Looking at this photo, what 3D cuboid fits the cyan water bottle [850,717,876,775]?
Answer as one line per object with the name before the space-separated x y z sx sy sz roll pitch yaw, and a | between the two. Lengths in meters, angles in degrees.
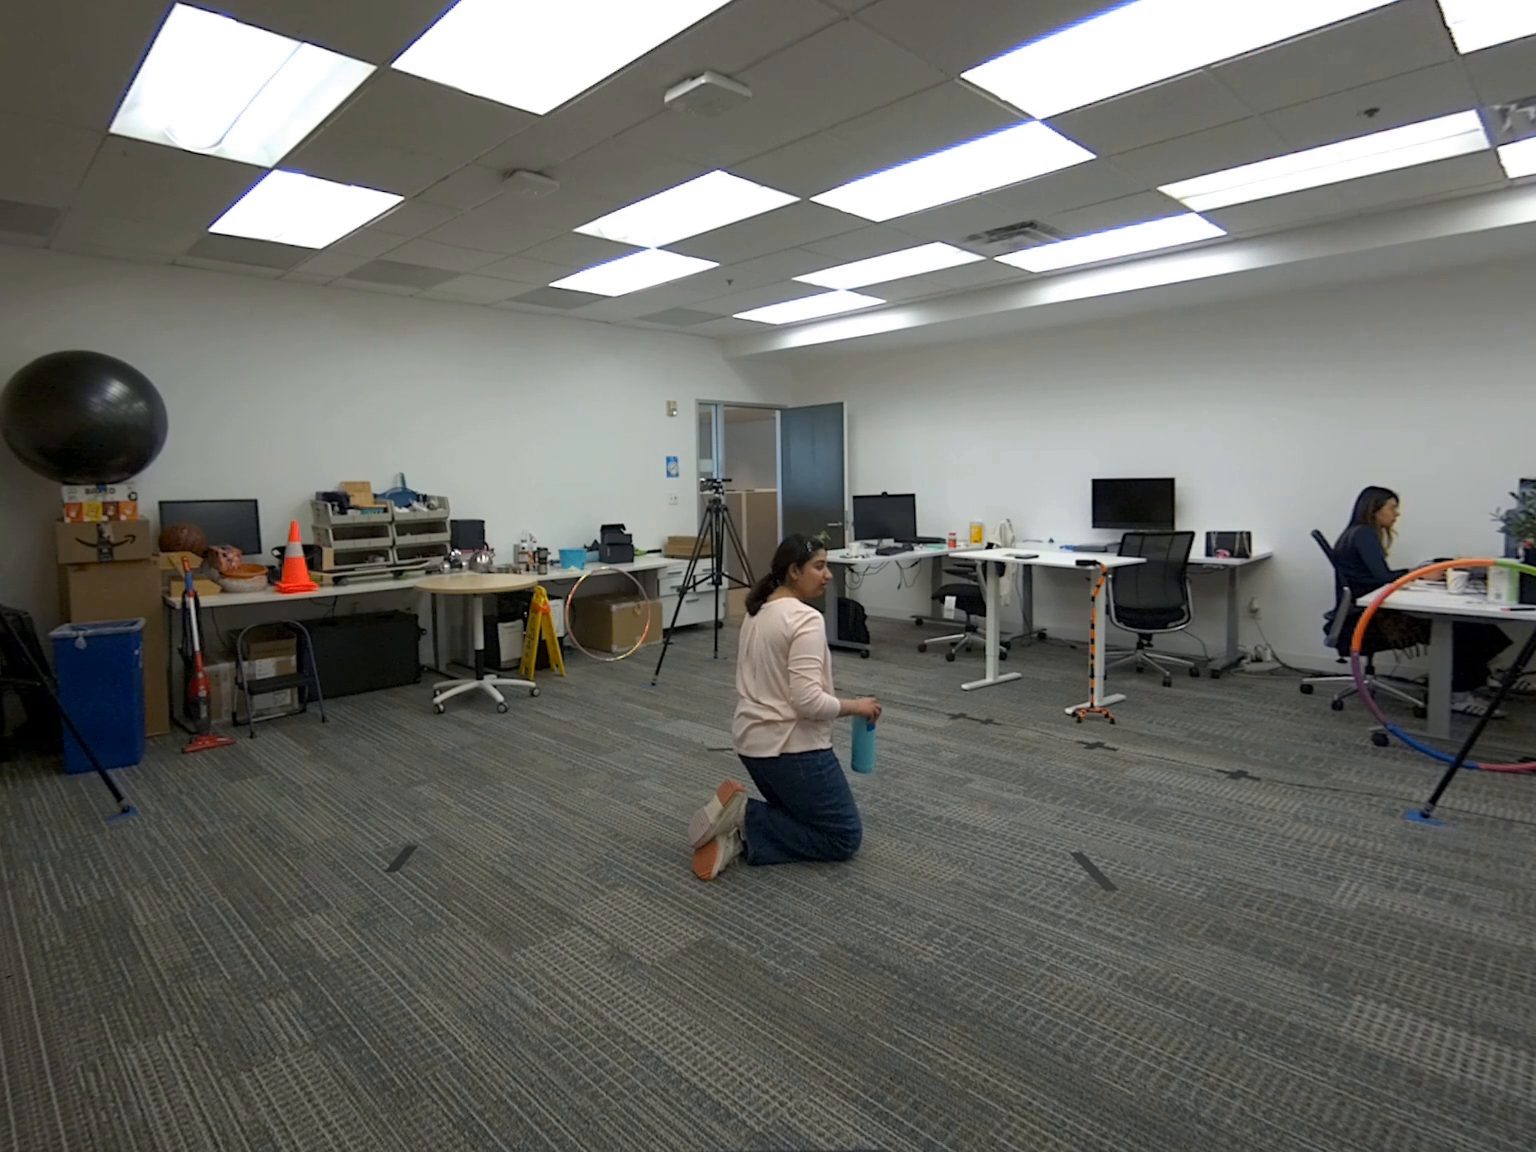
cyan water bottle | 0.364 0.594 3.221 0.092 0.280 0.093 1 14 -2
